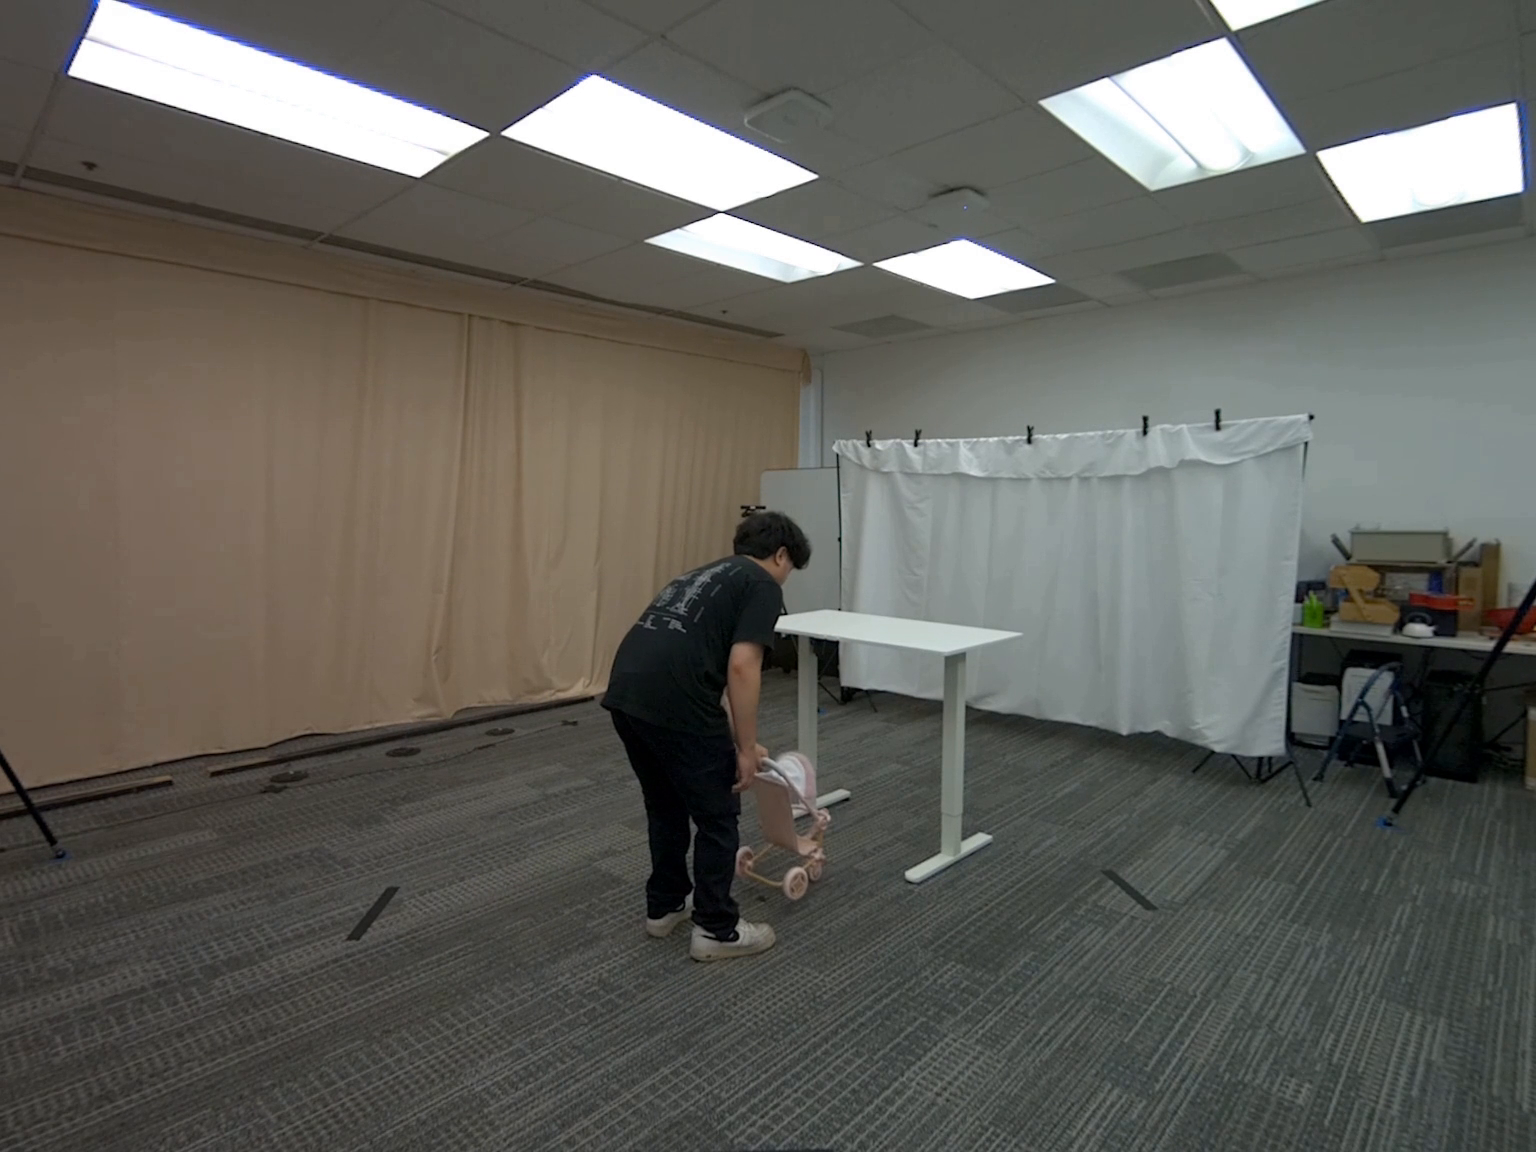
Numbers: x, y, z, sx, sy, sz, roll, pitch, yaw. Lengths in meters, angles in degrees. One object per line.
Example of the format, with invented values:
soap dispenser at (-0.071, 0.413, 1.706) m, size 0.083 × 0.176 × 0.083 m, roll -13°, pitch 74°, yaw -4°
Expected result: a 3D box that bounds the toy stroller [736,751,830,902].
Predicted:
toy stroller at (0.073, 0.877, 3.015) m, size 0.331 × 0.534 × 0.290 m, roll -5°, pitch 5°, yaw -41°
